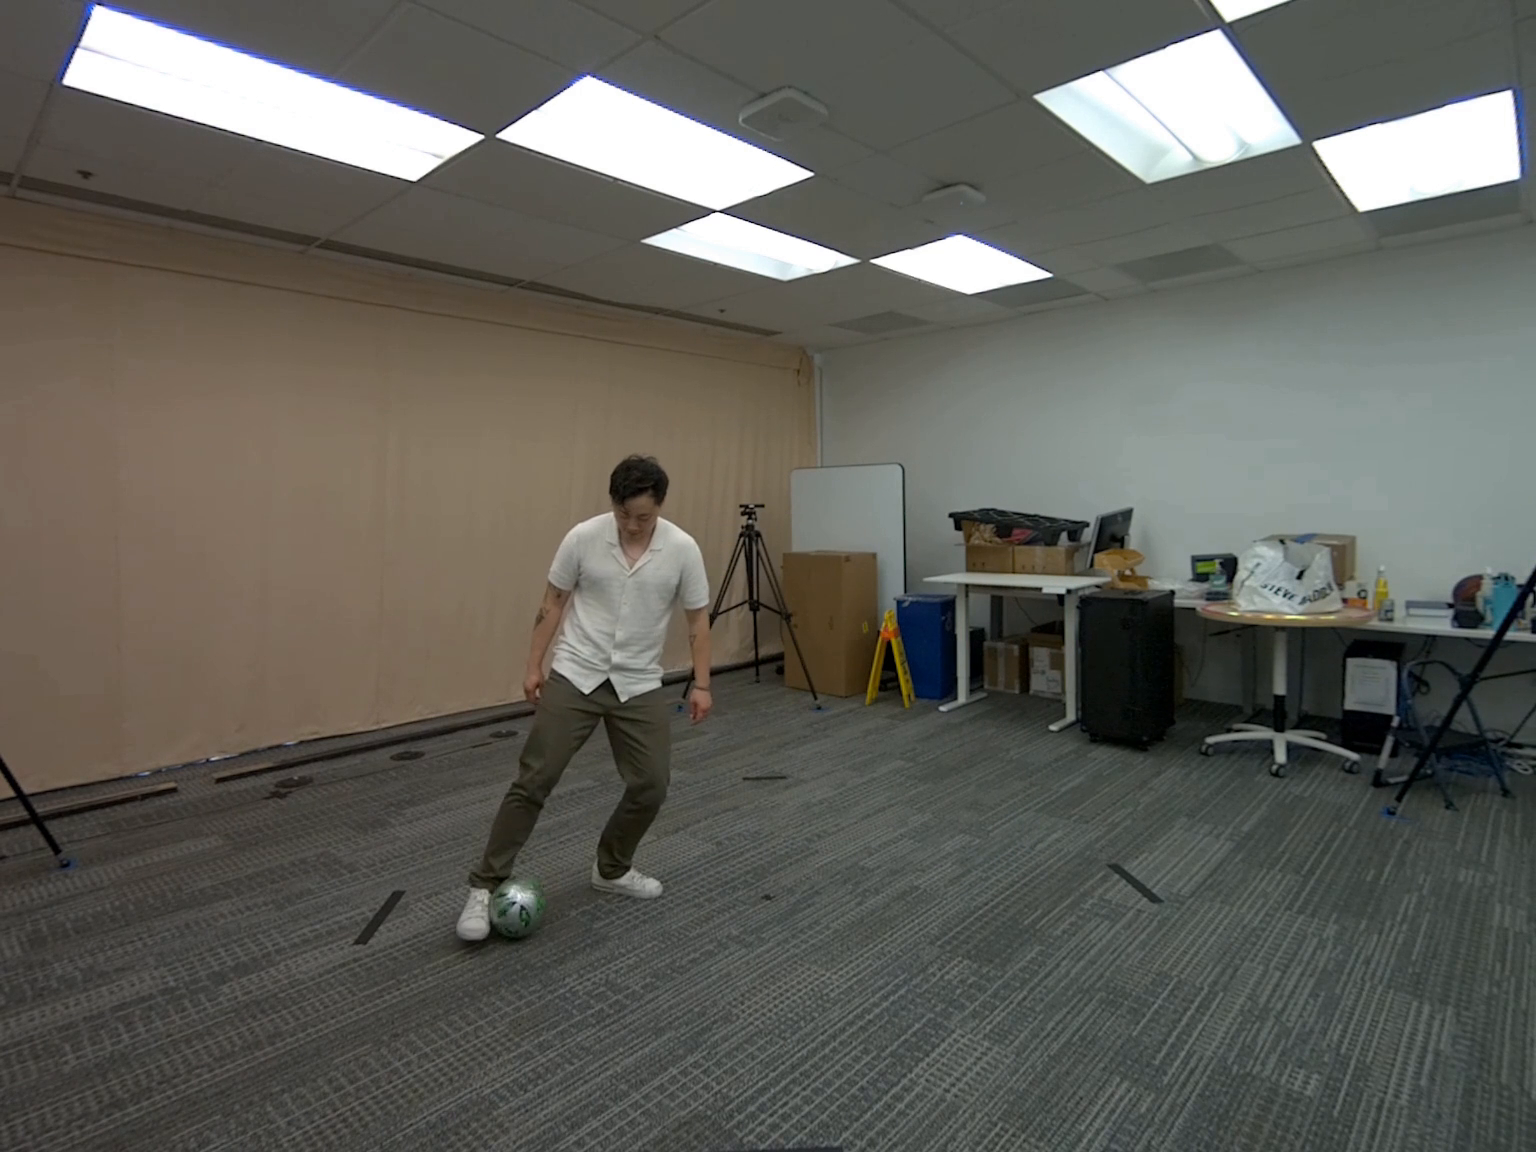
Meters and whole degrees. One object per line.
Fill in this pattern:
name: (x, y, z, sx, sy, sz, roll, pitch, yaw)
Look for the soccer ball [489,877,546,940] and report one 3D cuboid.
soccer ball: (-0.783, 1.085, 2.753, 0.187, 0.187, 0.188, -1, 4, -2)
